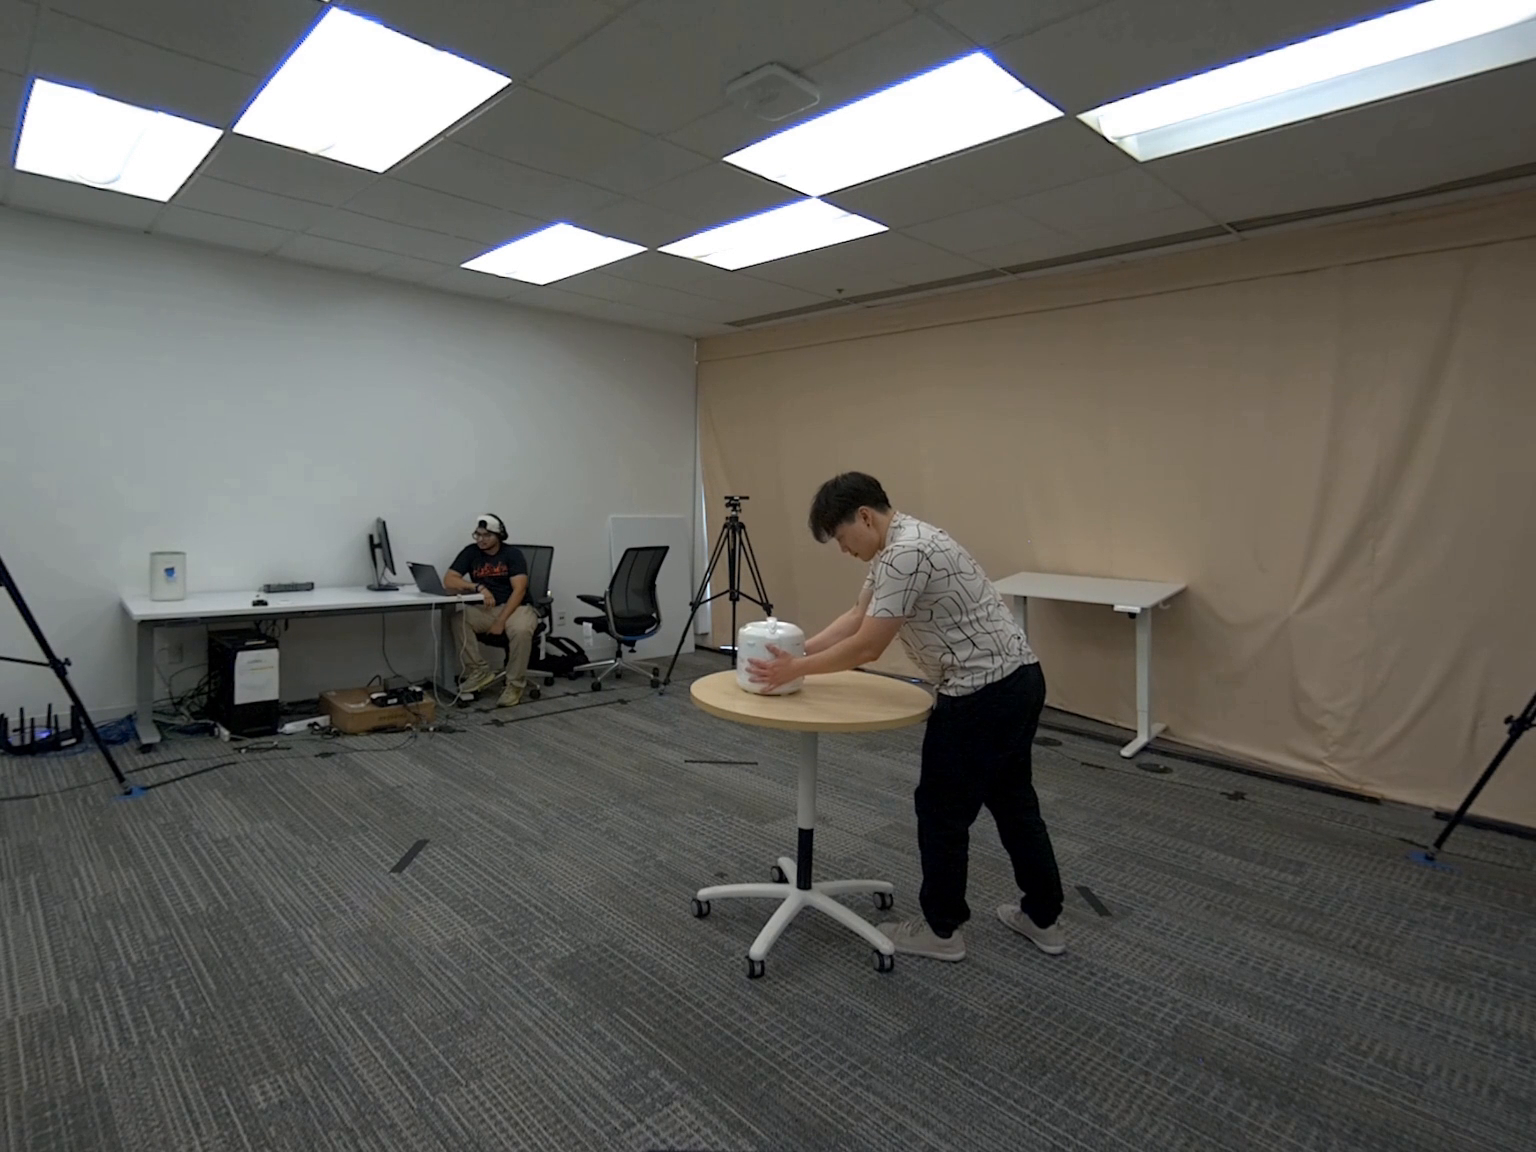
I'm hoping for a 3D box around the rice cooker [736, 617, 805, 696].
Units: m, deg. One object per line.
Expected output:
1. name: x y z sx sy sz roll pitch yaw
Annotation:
1. rice cooker: 0.008 0.246 2.677 0.217 0.232 0.221 0 5 -1
